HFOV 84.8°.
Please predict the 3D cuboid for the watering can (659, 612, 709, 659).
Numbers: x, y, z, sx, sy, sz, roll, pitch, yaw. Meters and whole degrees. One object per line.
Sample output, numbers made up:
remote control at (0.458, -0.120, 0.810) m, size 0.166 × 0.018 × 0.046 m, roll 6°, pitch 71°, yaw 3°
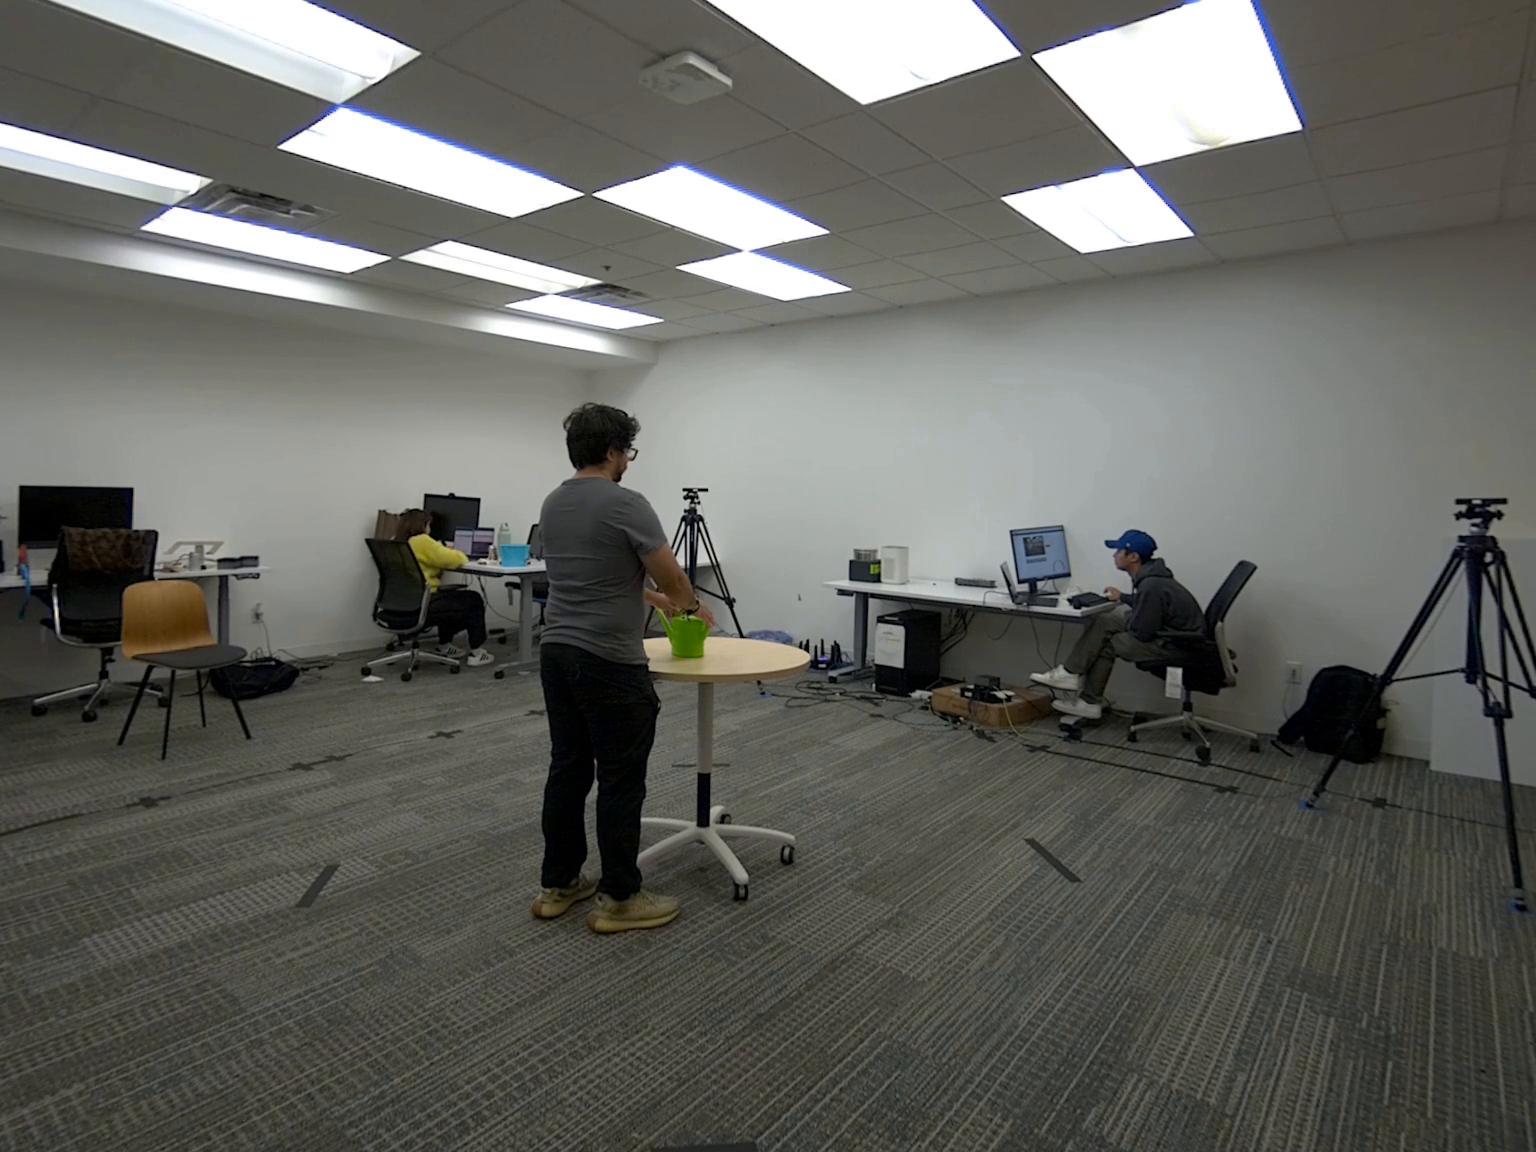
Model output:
watering can at (-0.328, 0.195, 3.123) m, size 0.095 × 0.176 × 0.288 m, roll -1°, pitch 7°, yaw -45°
